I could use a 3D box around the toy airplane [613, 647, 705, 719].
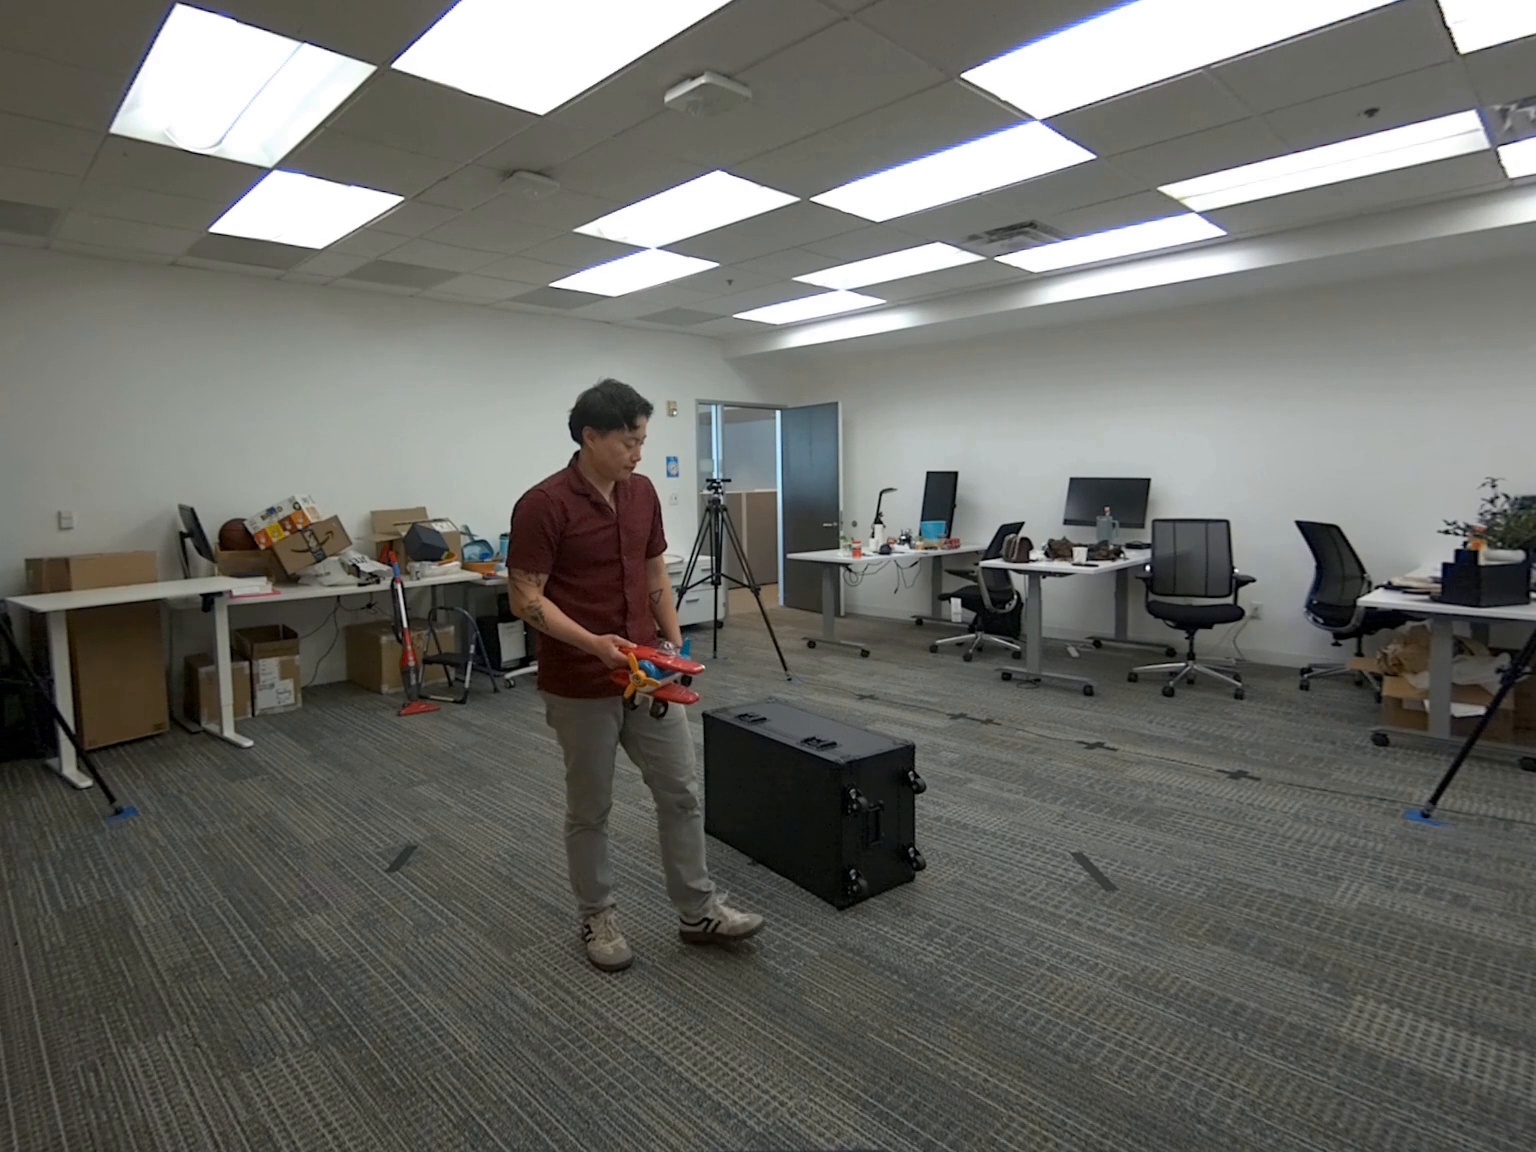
[{"bbox_3d":[-0.272,0.259,2.249,0.250,0.153,0.265,-1,22,-4],"label":"toy airplane"}]
